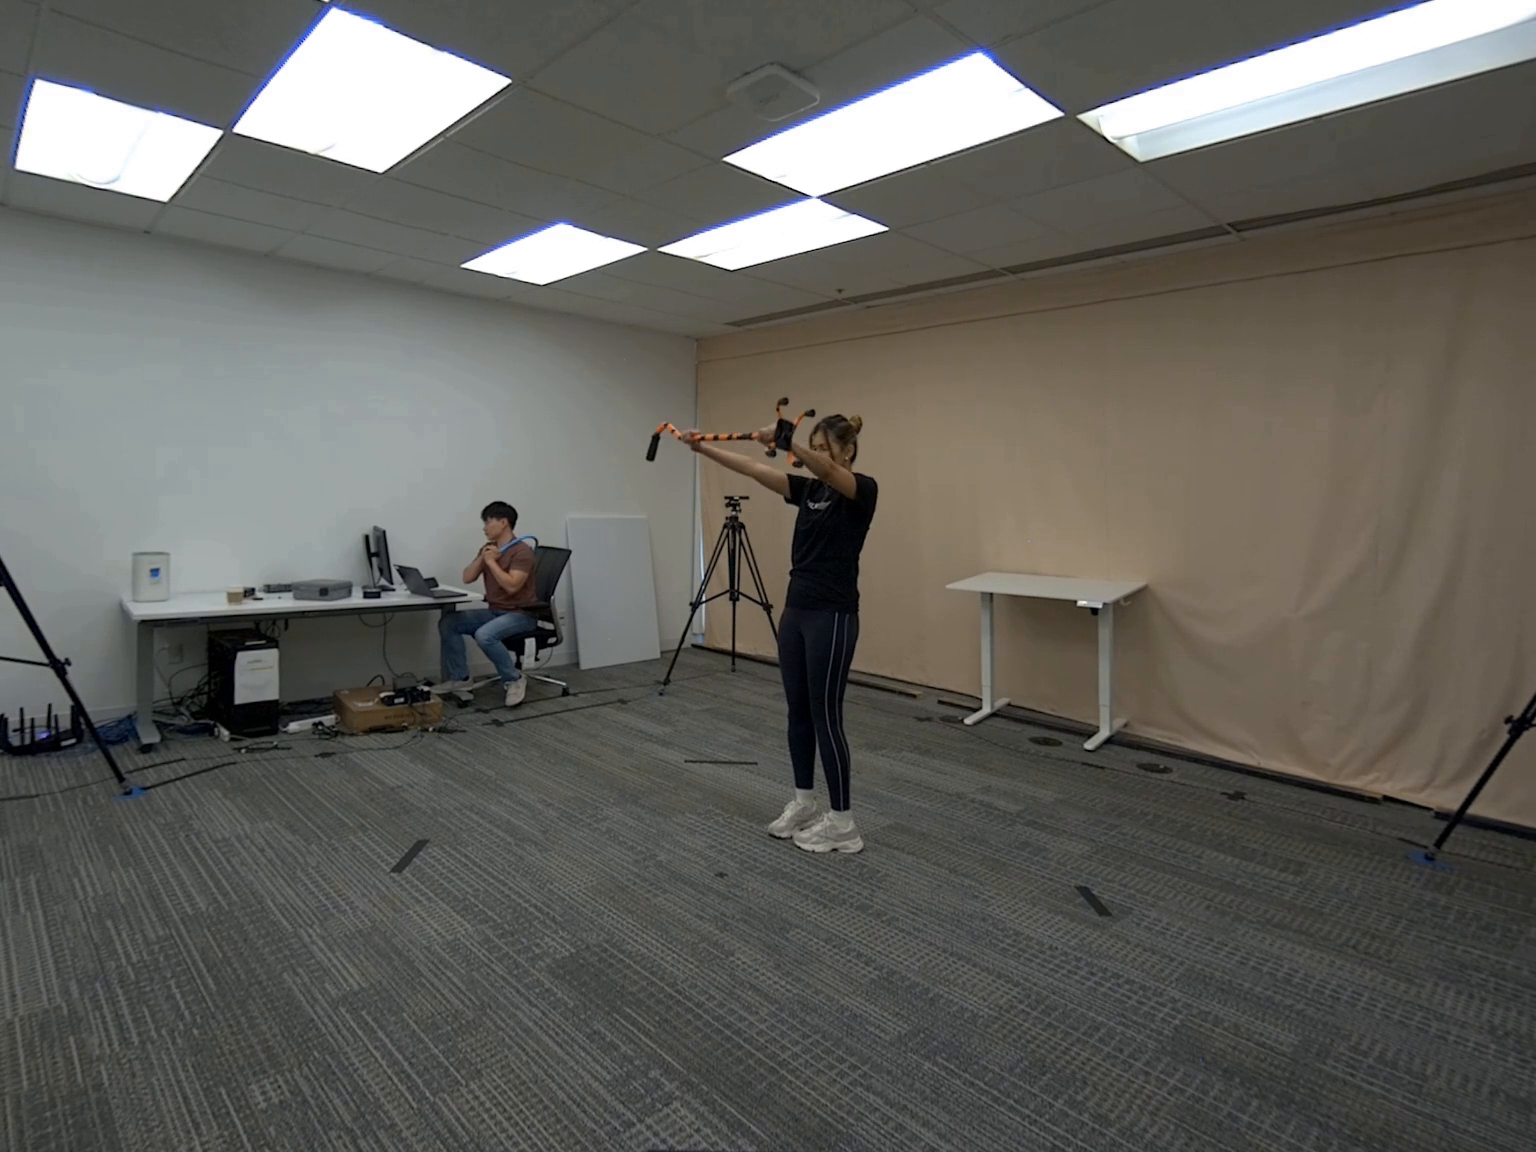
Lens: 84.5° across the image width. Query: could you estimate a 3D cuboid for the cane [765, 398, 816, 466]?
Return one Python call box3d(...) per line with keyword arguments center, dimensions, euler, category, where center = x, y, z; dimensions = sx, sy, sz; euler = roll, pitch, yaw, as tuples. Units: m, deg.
box3d(center=(-0.202, -0.517, 3.137), dimensions=(0.147, 0.207, 0.931), euler=(16, -4, -38), category="cane")
